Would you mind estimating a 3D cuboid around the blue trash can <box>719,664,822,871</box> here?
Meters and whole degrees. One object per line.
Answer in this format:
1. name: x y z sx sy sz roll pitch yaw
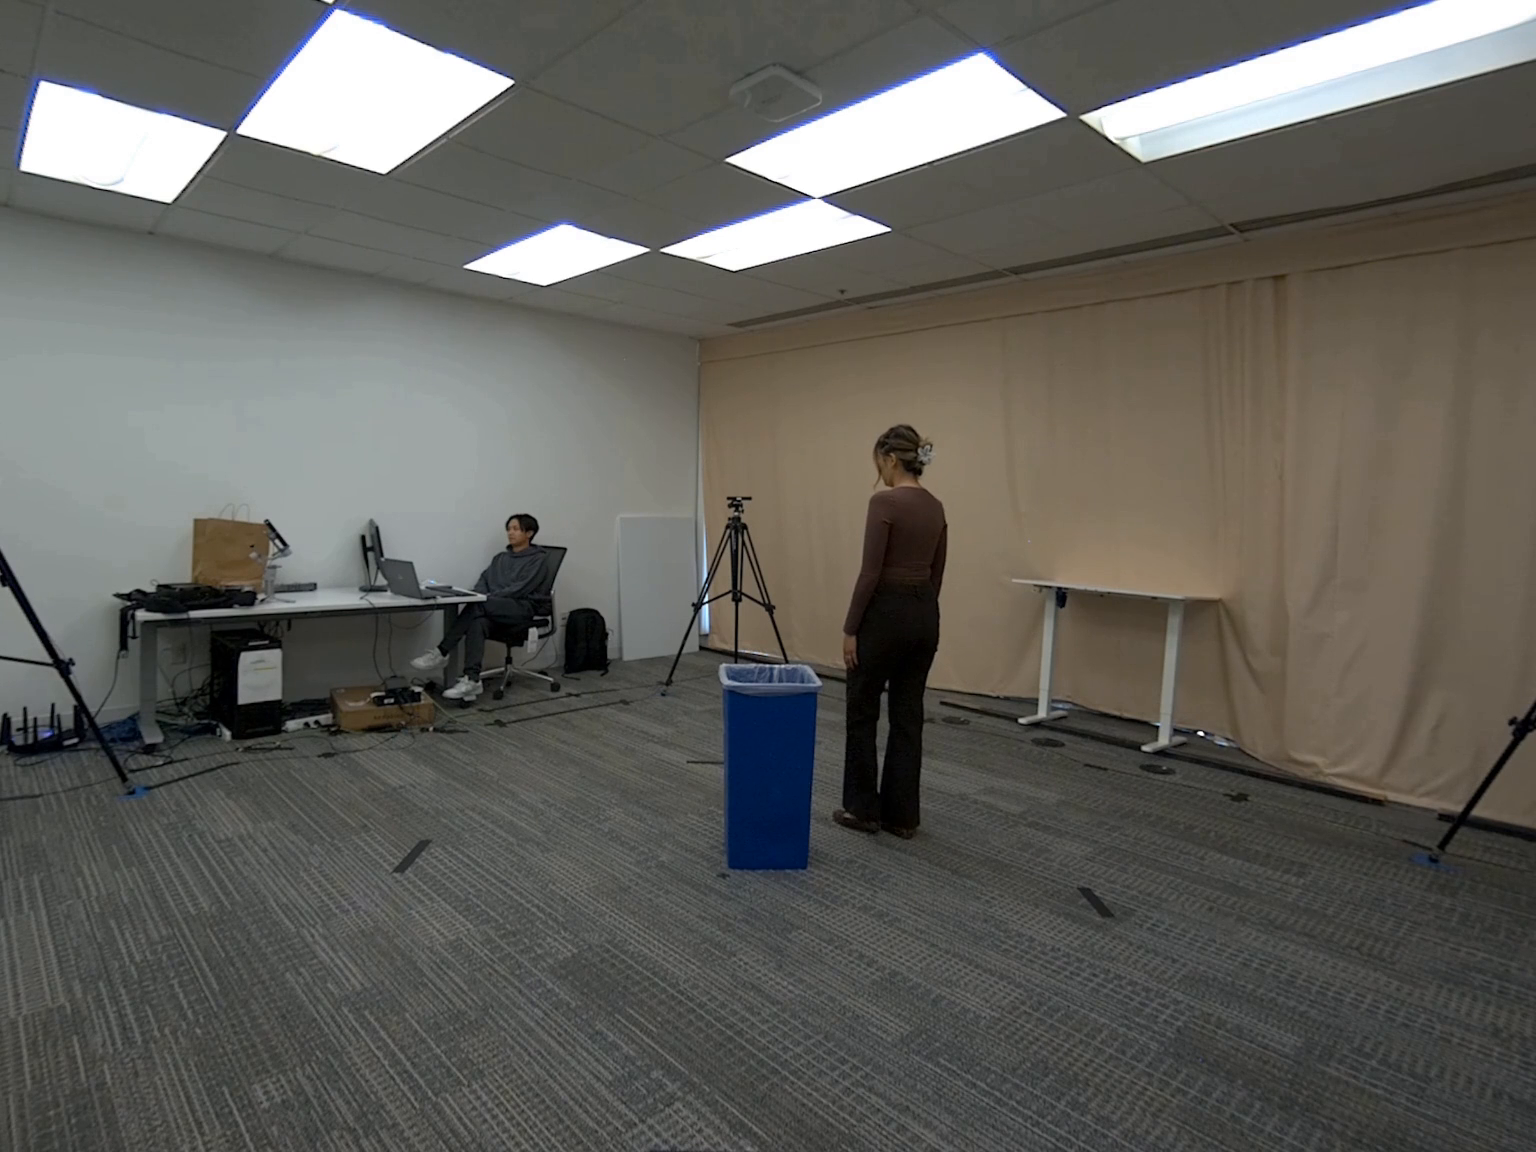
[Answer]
1. blue trash can: -0.017 0.733 3.288 0.372 0.712 0.380 2 3 -5
